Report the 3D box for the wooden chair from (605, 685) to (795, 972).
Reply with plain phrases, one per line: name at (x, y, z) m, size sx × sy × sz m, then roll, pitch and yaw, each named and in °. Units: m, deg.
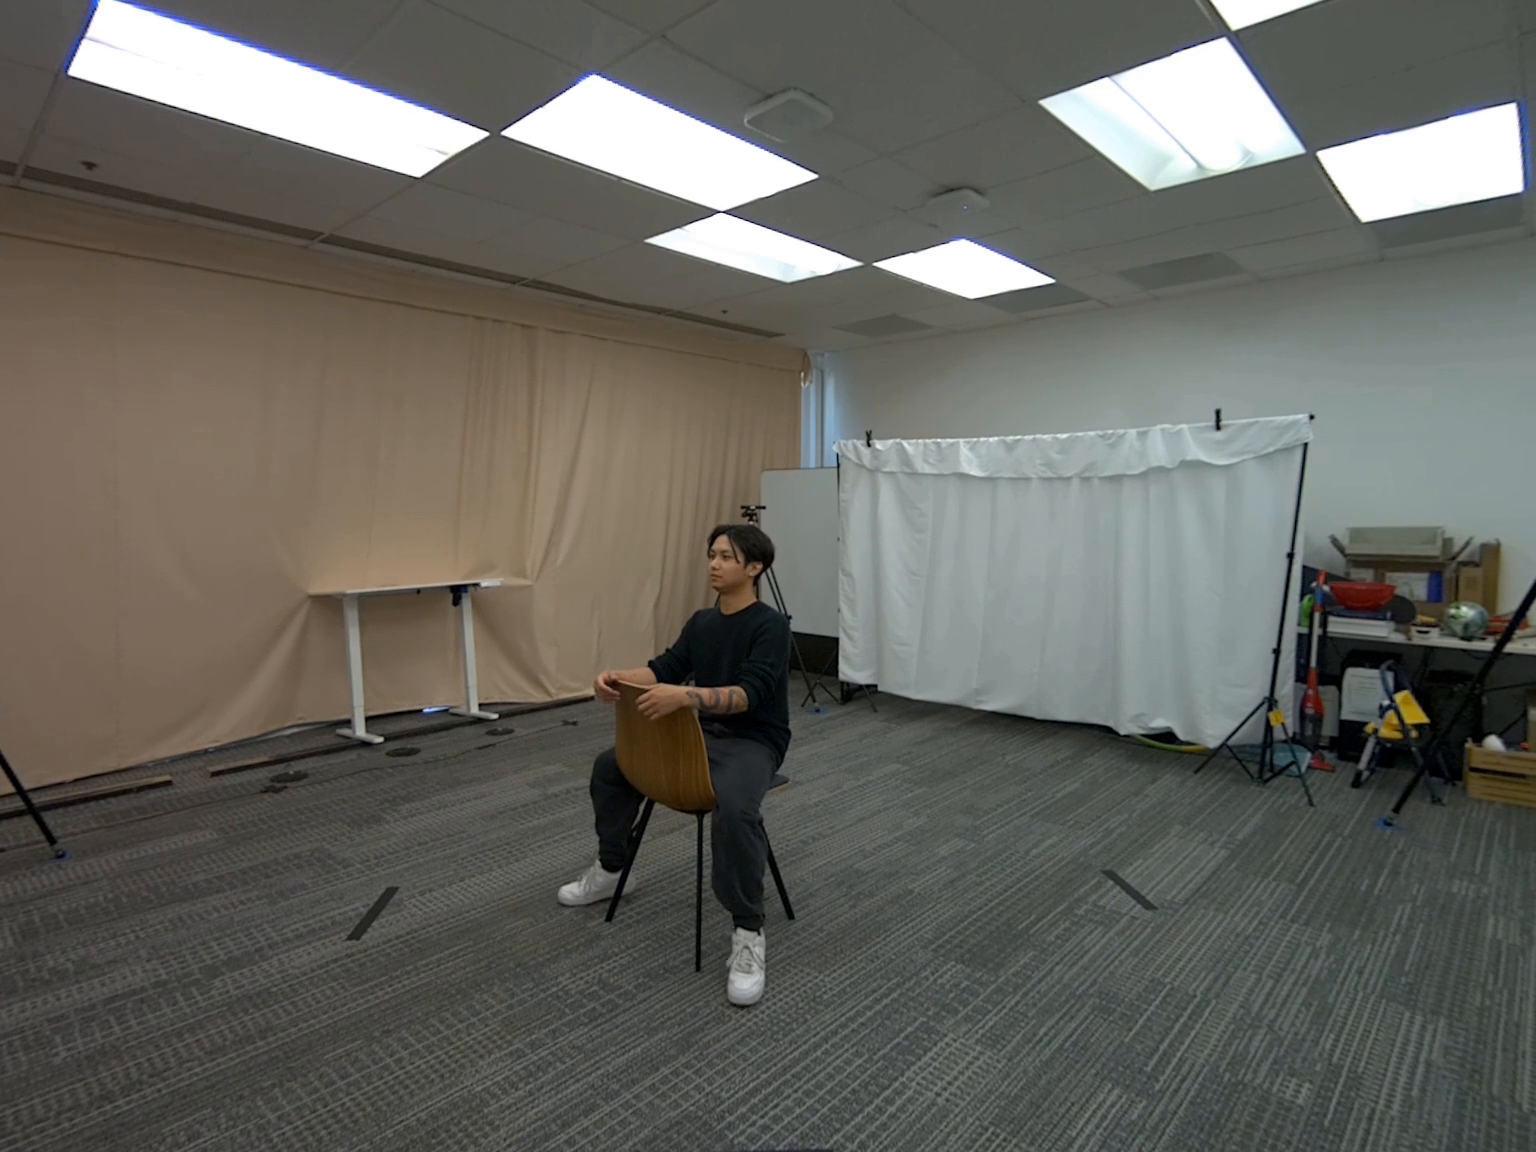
wooden chair at (-0.219, 0.729, 2.818) m, size 0.494 × 0.874 × 0.508 m, roll 2°, pitch 8°, yaw 44°
